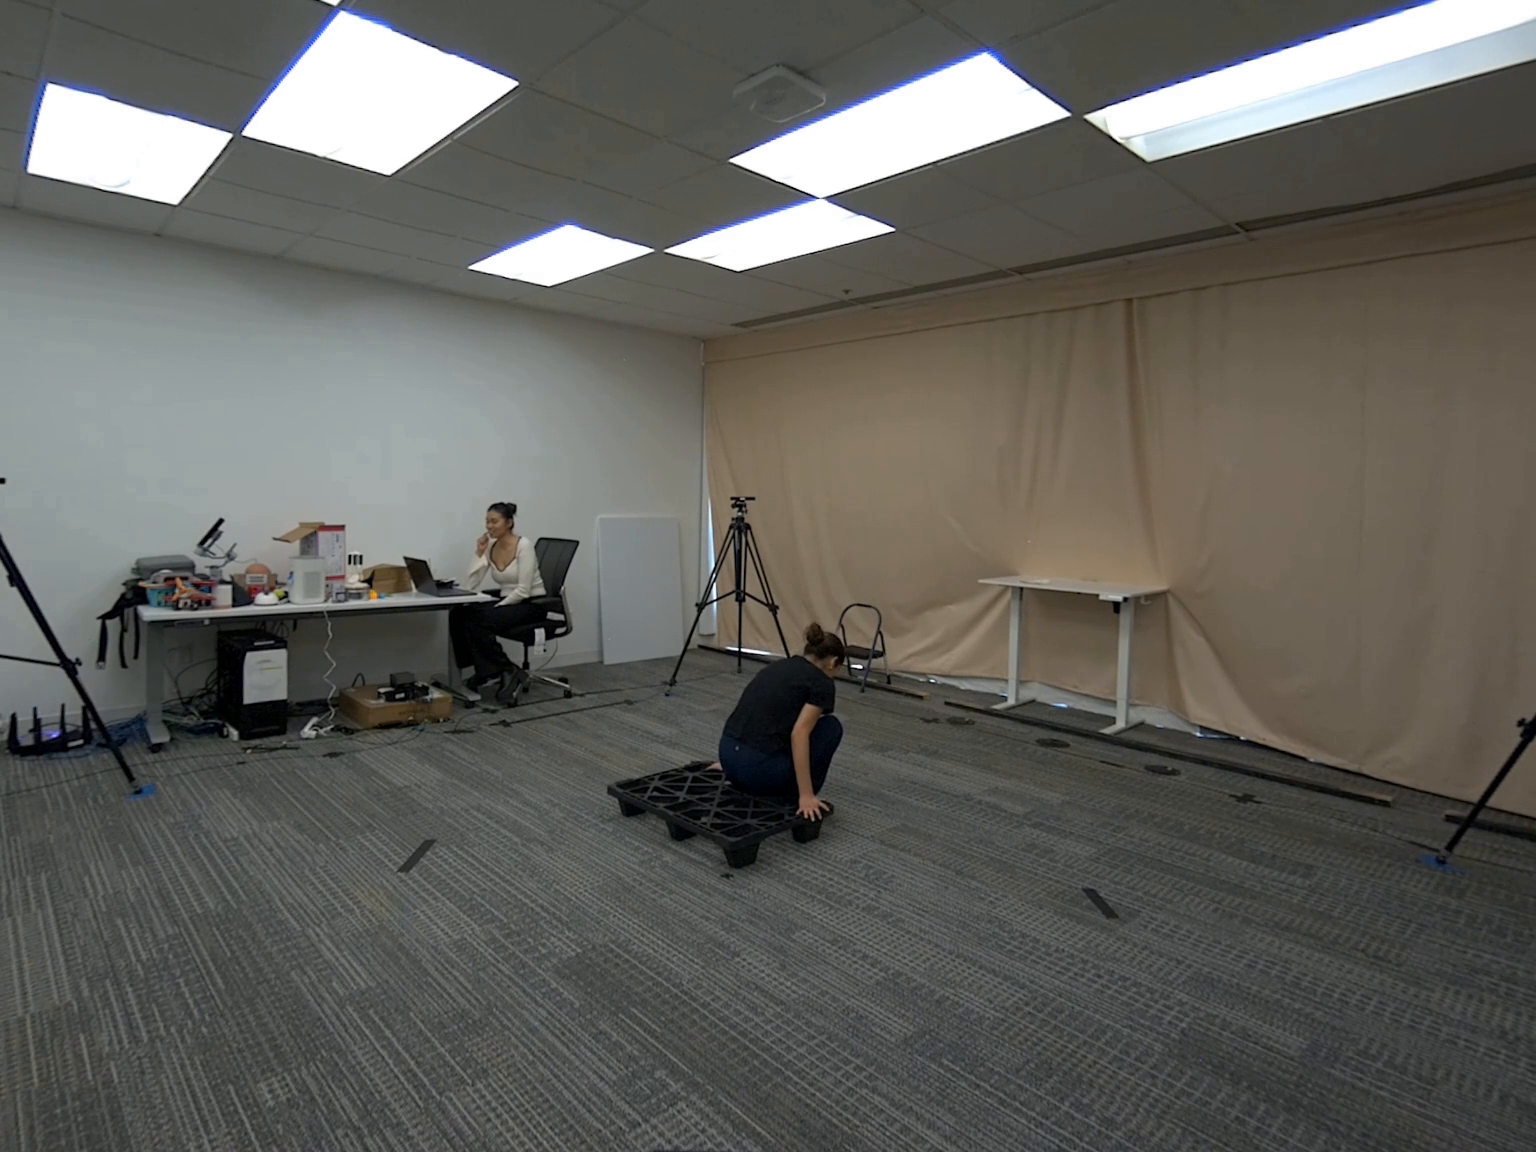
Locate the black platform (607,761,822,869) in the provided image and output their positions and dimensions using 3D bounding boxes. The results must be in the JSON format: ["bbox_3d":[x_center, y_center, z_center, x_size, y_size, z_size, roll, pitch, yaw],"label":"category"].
[{"bbox_3d":[-0.223,0.998,3.553,0.826,0.143,0.591,5,7,44],"label":"black platform"}]
